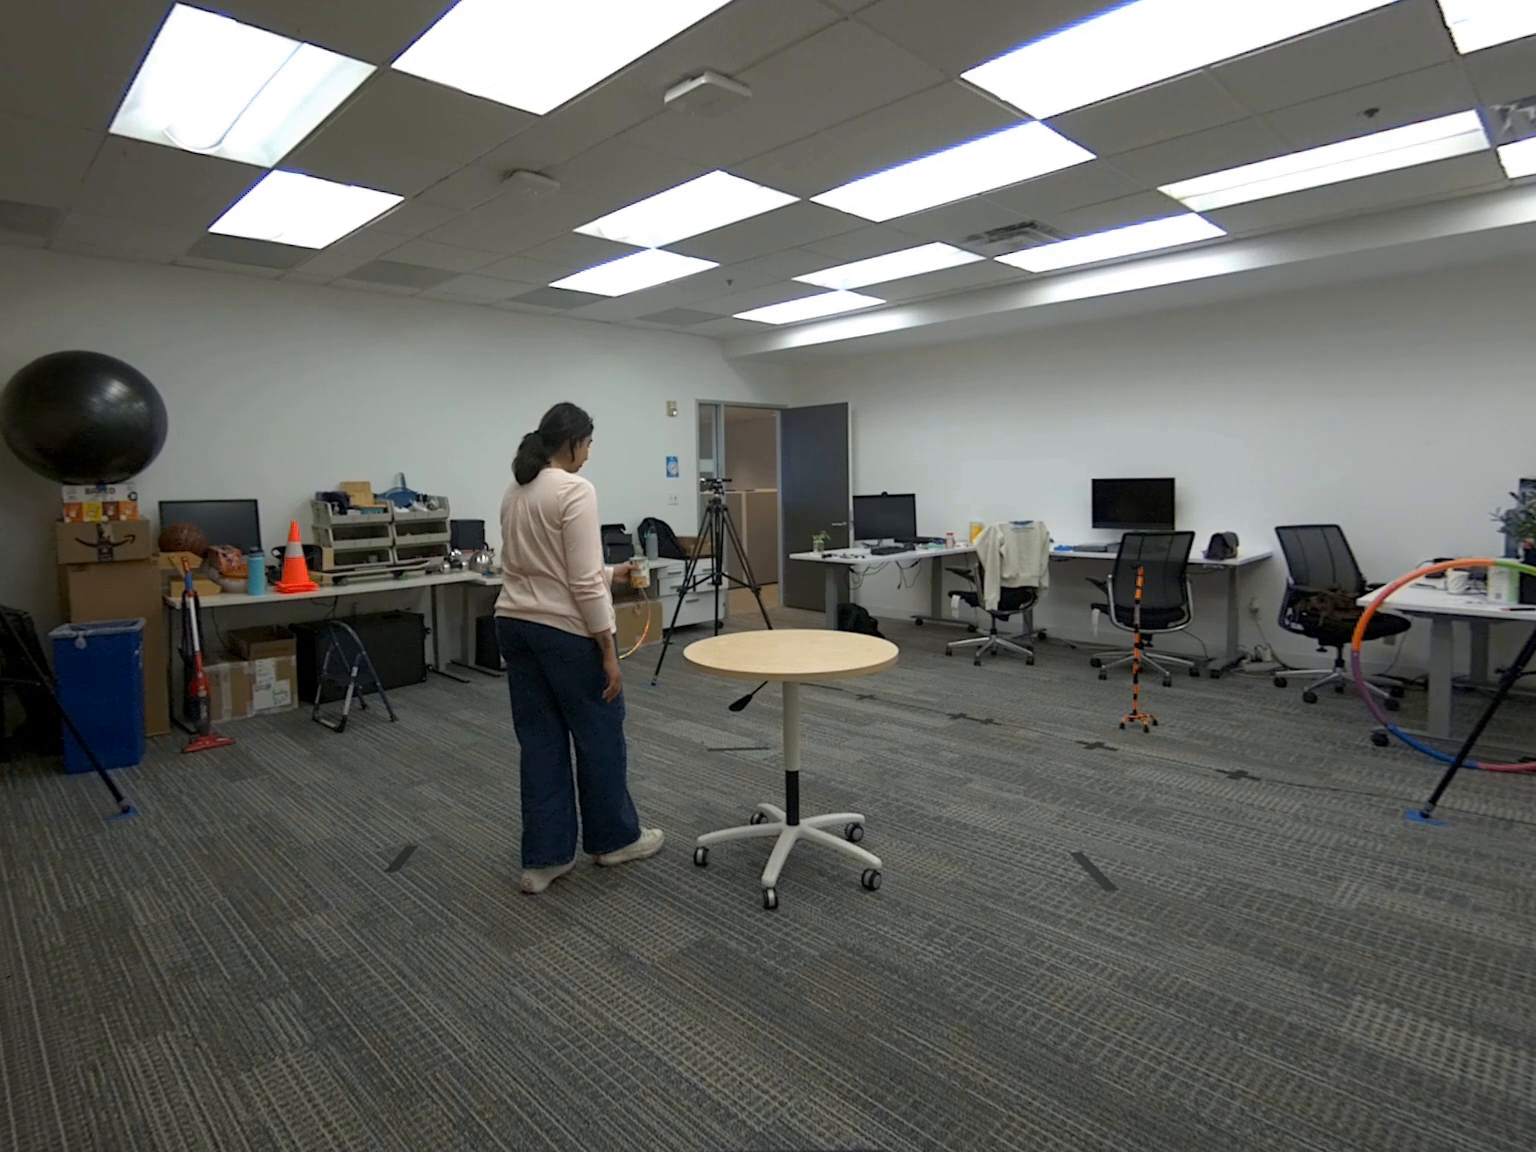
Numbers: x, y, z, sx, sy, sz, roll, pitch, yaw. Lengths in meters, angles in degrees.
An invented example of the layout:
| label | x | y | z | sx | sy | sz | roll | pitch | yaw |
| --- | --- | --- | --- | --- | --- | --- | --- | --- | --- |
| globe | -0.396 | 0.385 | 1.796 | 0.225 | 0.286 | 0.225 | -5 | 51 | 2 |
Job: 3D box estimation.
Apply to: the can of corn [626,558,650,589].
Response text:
| label | x | y | z | sx | sy | sz | roll | pitch | yaw |
| --- | --- | --- | --- | --- | --- | --- | --- | --- | --- |
| can of corn | -0.510 | -0.015 | 3.330 | 0.074 | 0.110 | 0.075 | -3 | 8 | -1 |
